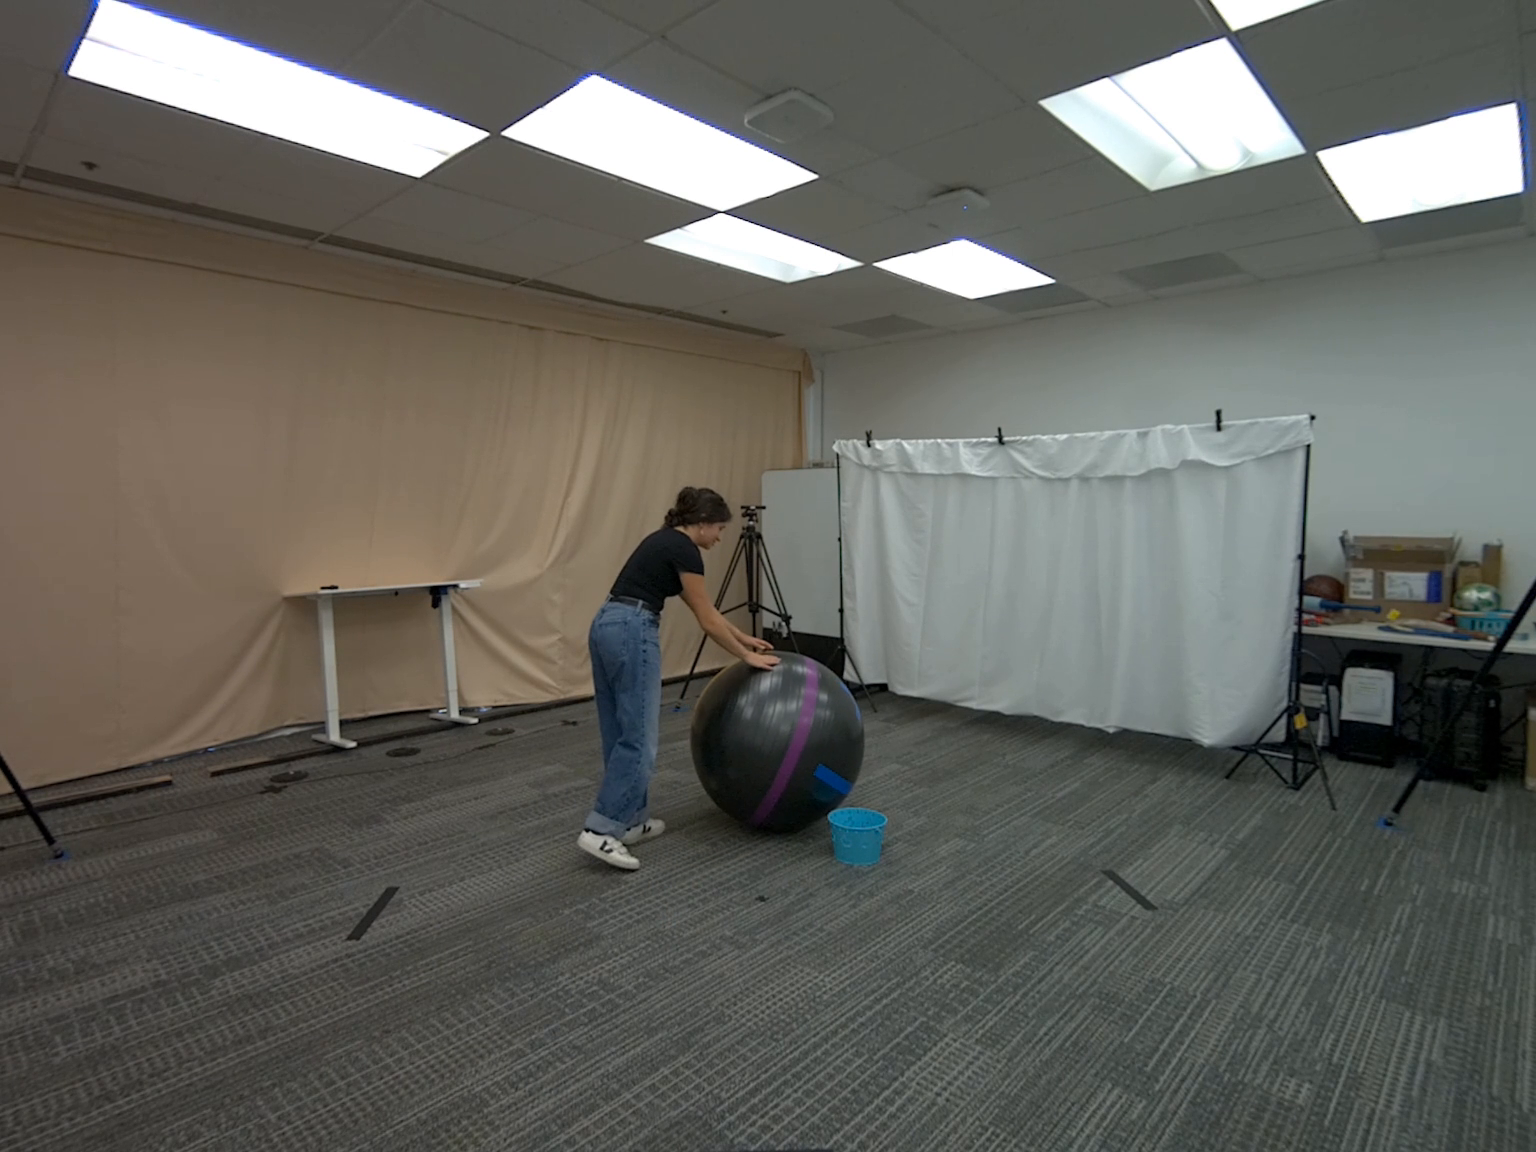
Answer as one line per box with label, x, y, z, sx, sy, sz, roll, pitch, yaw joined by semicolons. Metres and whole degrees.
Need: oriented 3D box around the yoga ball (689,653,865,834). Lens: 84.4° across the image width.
yoga ball;0.037;0.715;3.684;0.757;0.756;0.760;0;4;-2
